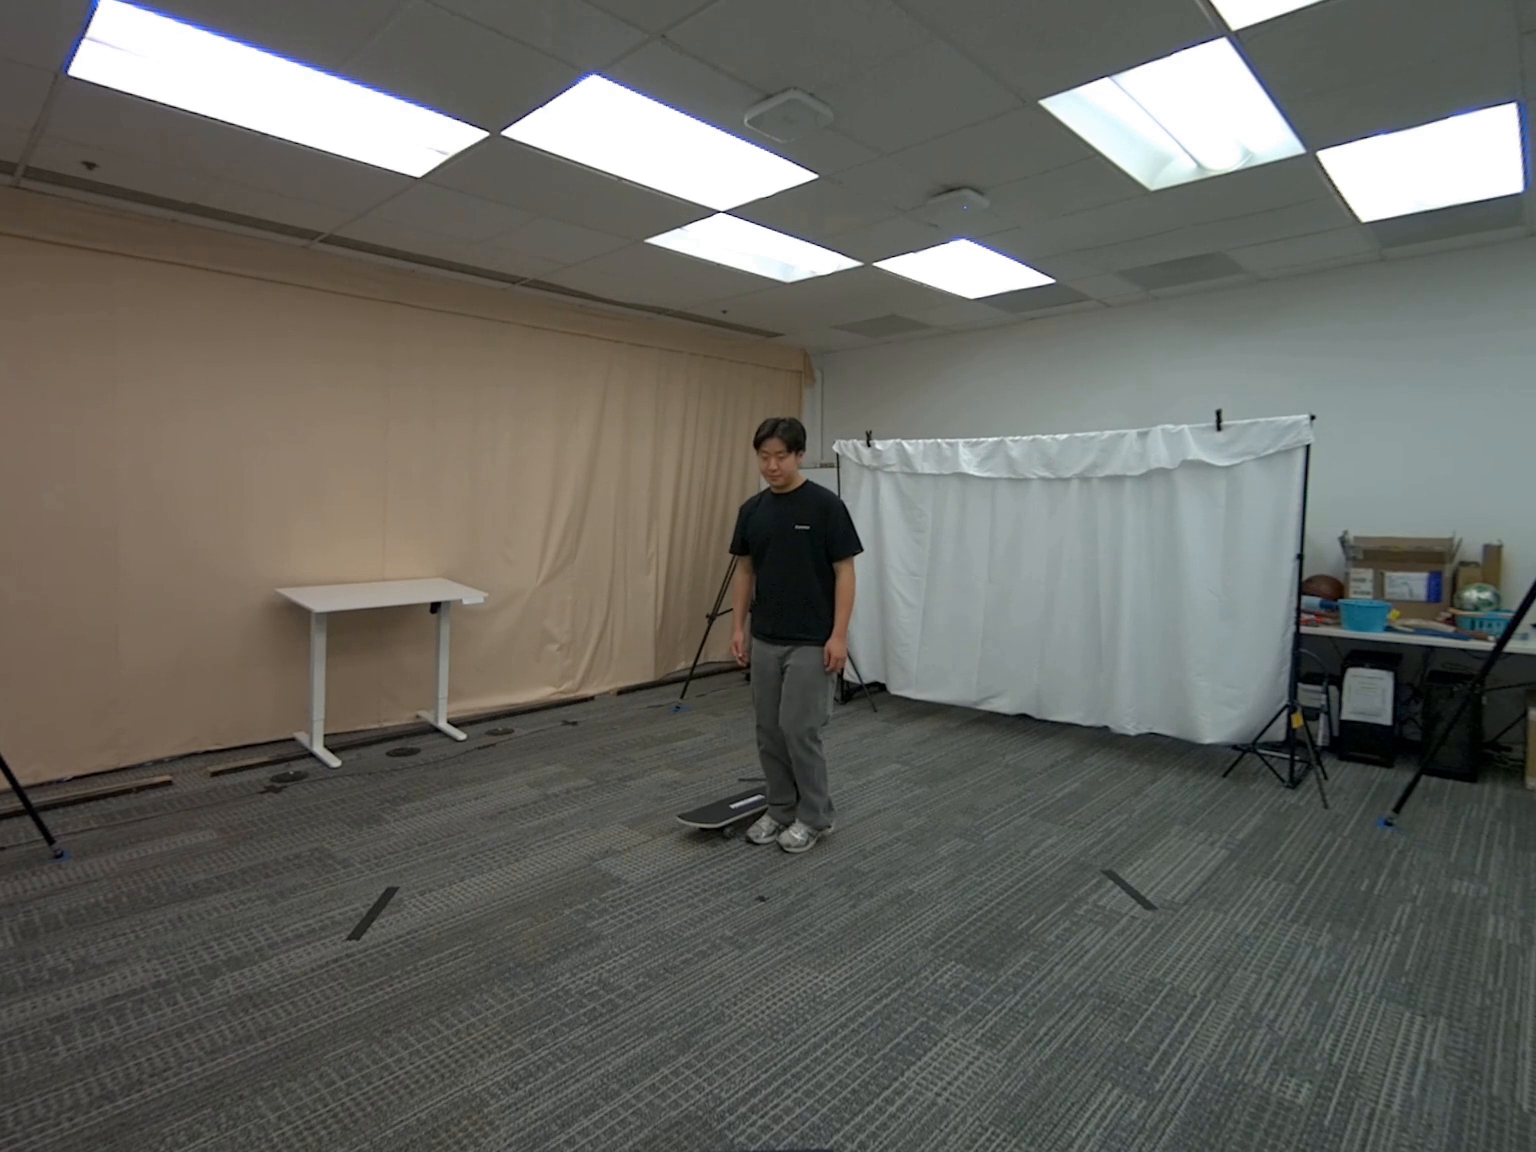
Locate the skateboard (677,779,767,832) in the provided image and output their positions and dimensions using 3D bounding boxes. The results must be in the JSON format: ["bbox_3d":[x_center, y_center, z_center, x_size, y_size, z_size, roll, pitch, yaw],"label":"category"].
[{"bbox_3d":[-0.091,1.031,3.725,0.200,0.110,0.761,3,5,43],"label":"skateboard"}]
